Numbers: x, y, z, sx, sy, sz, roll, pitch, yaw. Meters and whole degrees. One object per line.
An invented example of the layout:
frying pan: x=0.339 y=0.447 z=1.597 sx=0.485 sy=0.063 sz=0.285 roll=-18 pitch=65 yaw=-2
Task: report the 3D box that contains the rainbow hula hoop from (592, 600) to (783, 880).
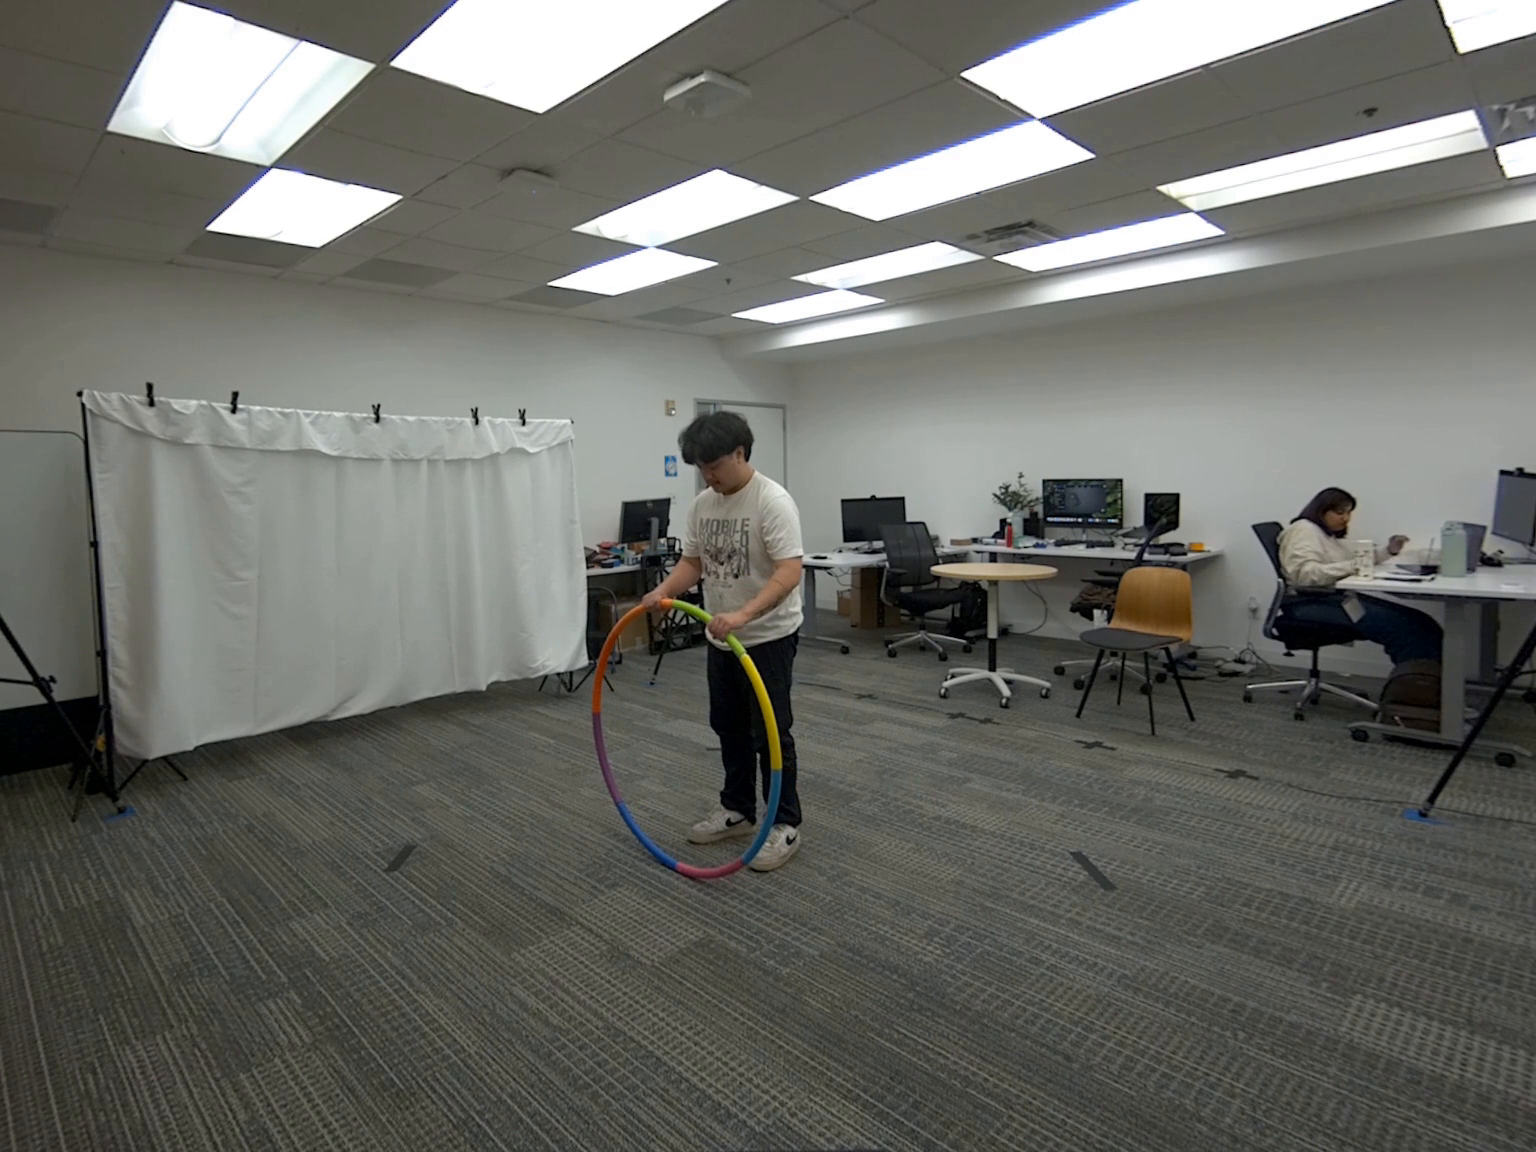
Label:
rainbow hula hoop: x=-0.321 y=0.571 z=3.028 sx=0.050 sy=0.982 sz=1.016 roll=-3 pitch=5 yaw=-45
